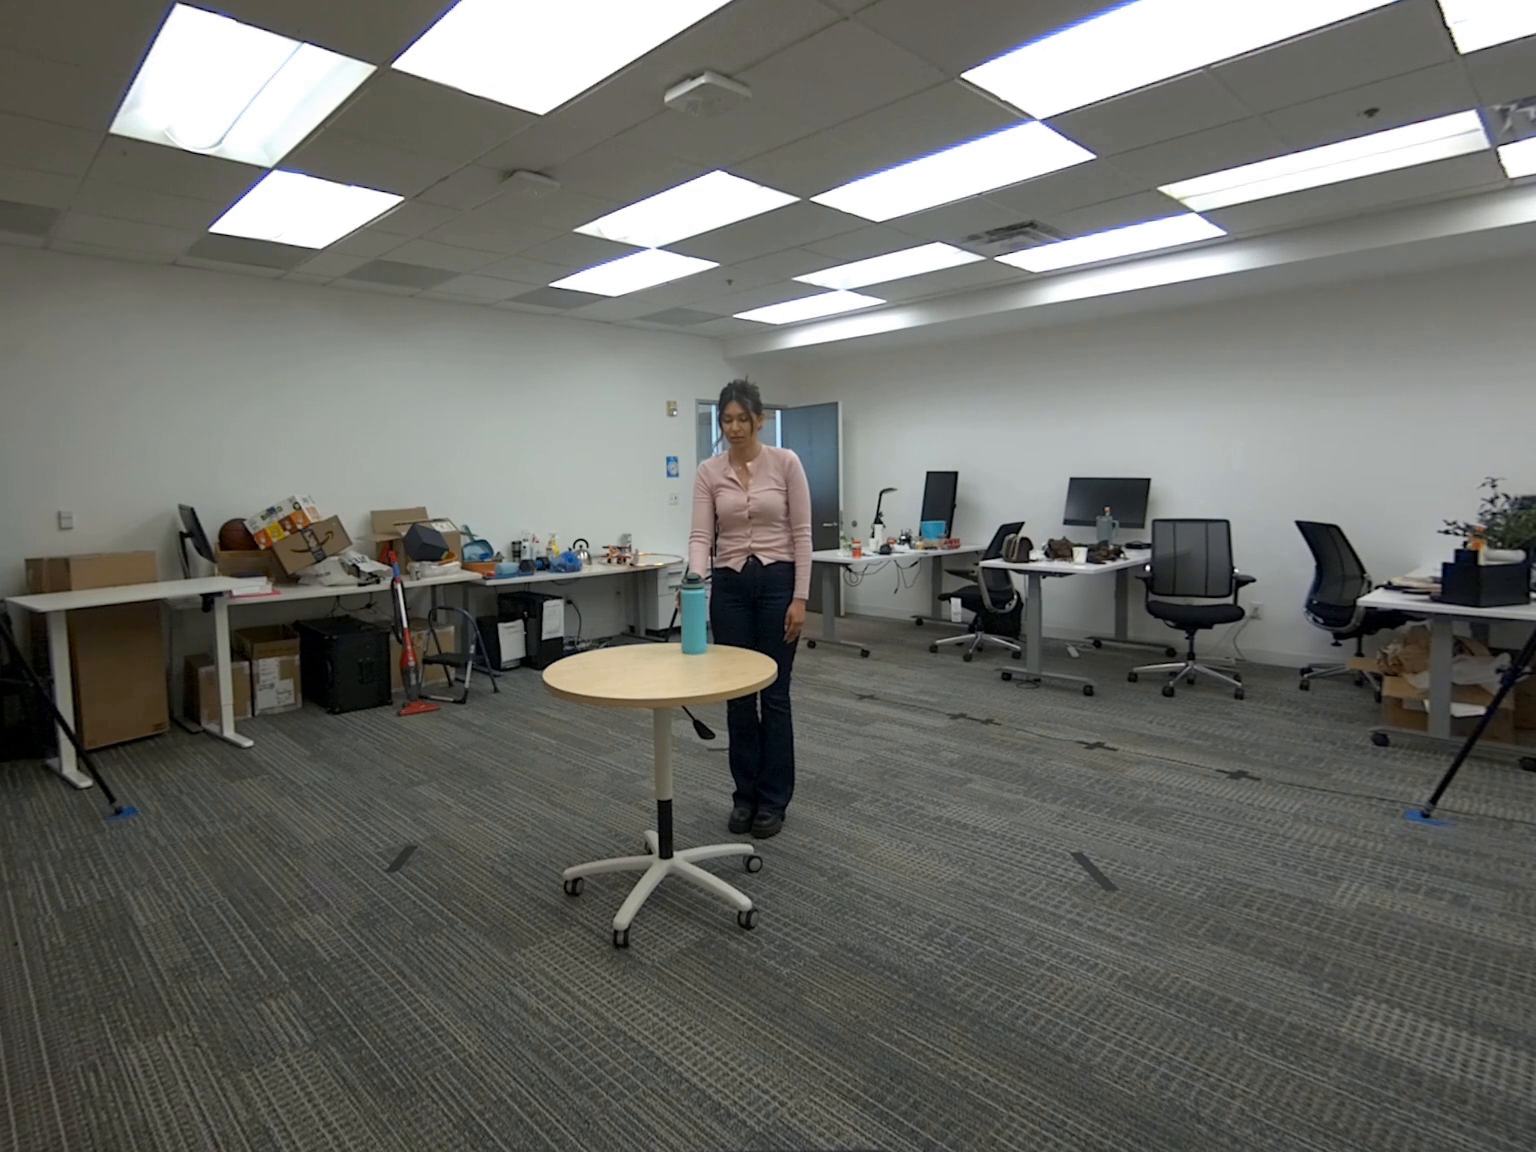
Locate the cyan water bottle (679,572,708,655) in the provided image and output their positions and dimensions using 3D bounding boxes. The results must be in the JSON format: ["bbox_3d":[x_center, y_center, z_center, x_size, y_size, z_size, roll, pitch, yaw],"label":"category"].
[{"bbox_3d":[-0.258,0.137,3.026,0.092,0.283,0.092,3,0,-2],"label":"cyan water bottle"}]
